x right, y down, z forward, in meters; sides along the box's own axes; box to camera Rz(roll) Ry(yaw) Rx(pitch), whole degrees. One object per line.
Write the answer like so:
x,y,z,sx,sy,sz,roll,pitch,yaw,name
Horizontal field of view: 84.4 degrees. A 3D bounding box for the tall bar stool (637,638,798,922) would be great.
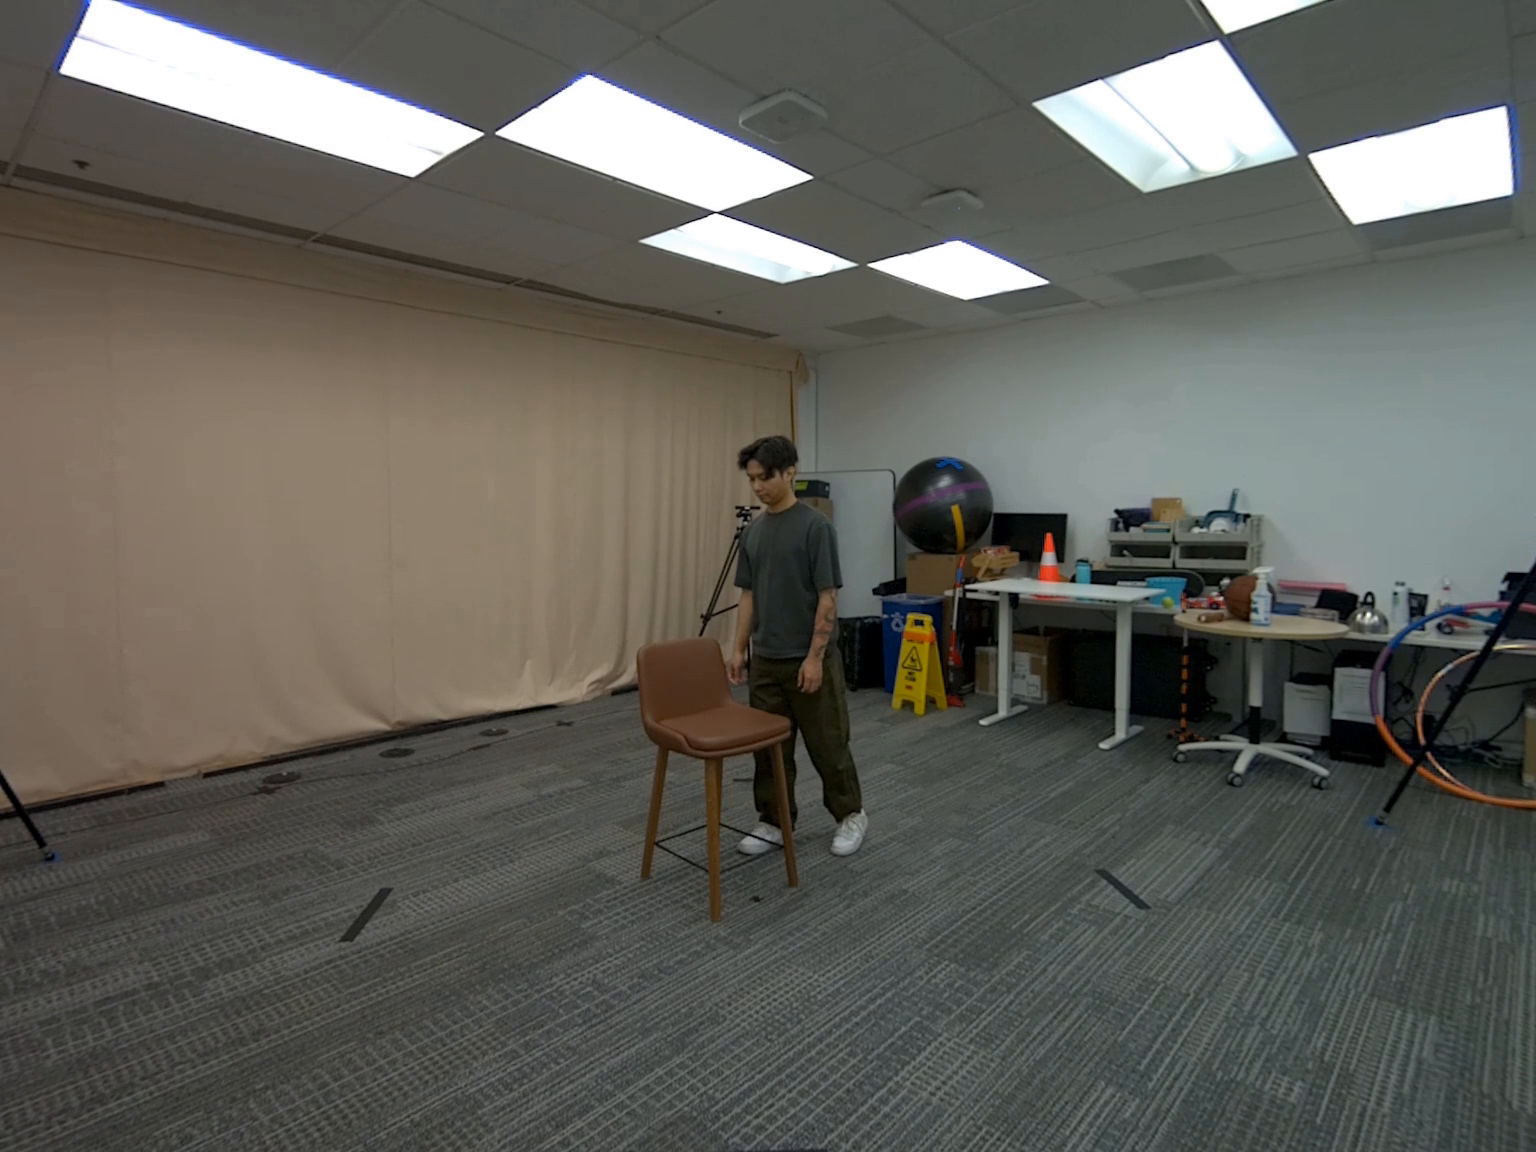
-0.198,0.703,3.090,0.442,0.889,0.483,-3,3,-42,tall bar stool
